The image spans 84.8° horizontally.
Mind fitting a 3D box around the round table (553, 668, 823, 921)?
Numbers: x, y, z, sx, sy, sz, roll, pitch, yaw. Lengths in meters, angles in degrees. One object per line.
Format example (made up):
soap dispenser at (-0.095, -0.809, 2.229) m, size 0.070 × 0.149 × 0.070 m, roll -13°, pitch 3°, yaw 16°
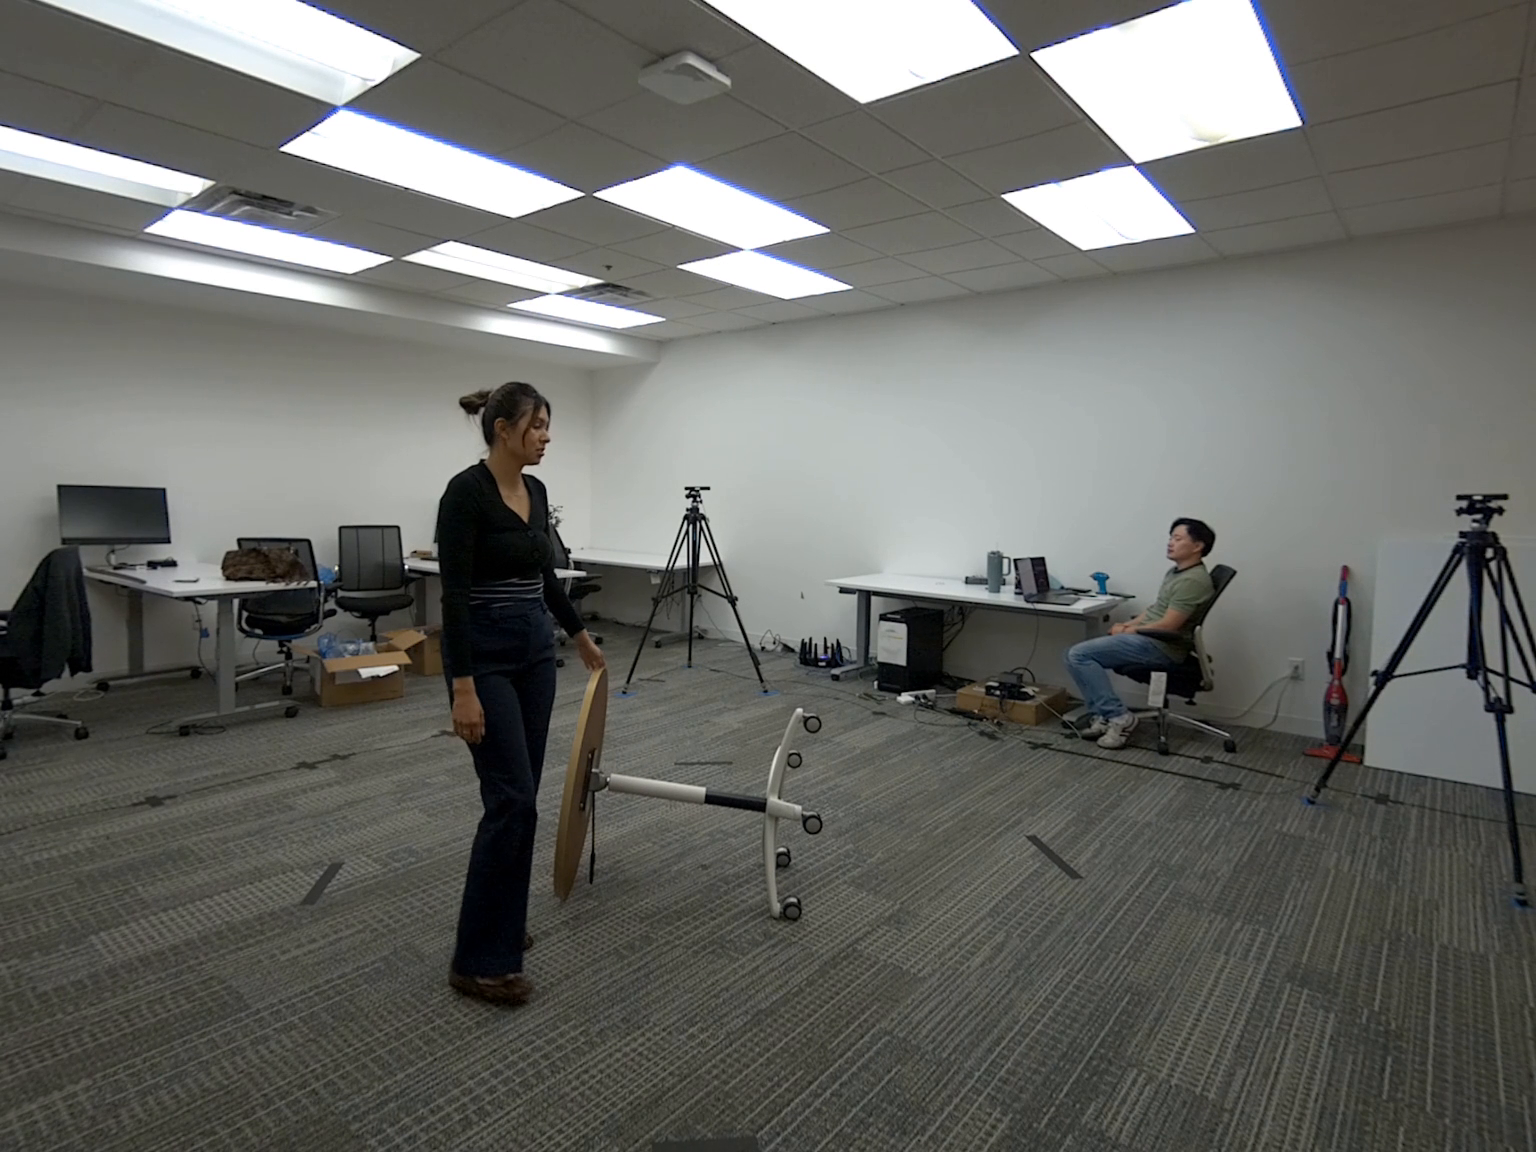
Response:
round table at (-0.269, 0.753, 2.935) m, size 0.793 × 0.762 × 0.768 m, roll 8°, pitch 4°, yaw -2°
